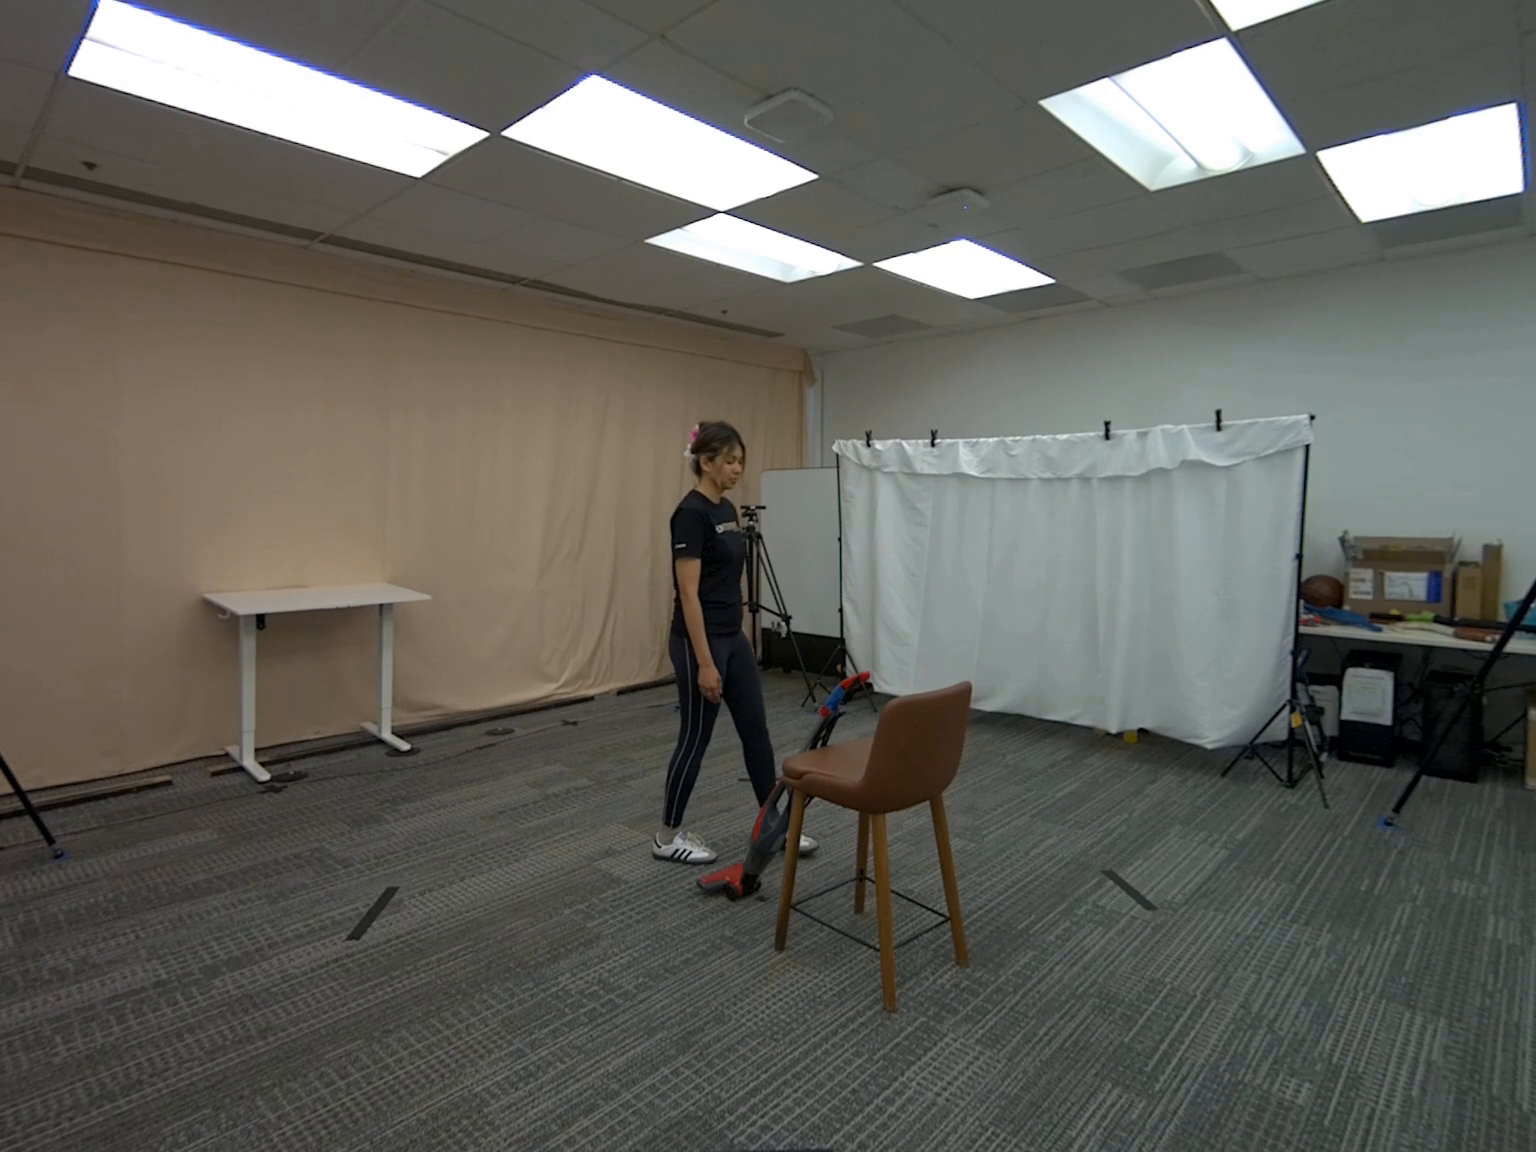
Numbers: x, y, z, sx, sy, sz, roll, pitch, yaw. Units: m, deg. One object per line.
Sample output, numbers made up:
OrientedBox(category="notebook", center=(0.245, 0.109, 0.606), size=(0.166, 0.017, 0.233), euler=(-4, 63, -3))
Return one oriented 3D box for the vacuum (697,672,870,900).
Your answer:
OrientedBox(category="vacuum", center=(0.086, 0.714, 2.815), size=(0.245, 1.047, 0.149), euler=(-4, 40, -45))
